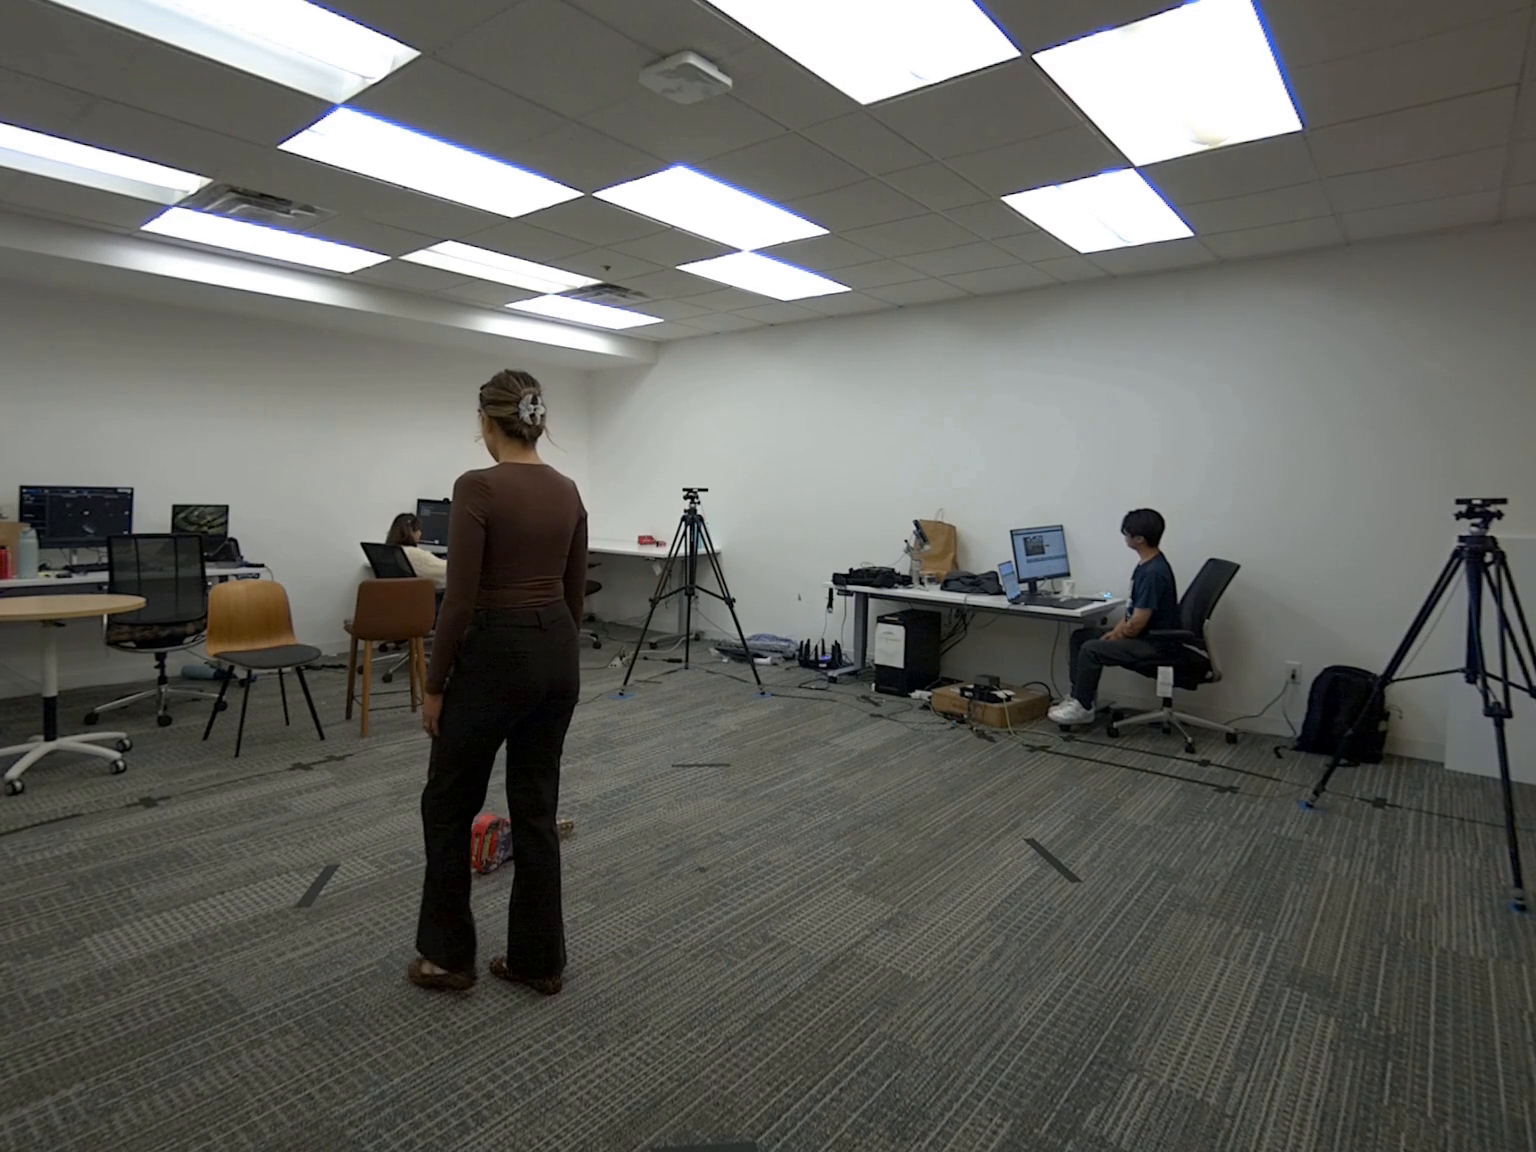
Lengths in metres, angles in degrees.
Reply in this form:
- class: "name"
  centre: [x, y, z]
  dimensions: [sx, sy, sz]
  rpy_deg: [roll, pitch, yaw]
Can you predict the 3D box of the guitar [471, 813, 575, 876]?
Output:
- class: "guitar"
  centre: [-0.937, 1.007, 3.216]
  dimensions: [0.073, 0.195, 0.479]
  rpy_deg: [5, -12, 28]
